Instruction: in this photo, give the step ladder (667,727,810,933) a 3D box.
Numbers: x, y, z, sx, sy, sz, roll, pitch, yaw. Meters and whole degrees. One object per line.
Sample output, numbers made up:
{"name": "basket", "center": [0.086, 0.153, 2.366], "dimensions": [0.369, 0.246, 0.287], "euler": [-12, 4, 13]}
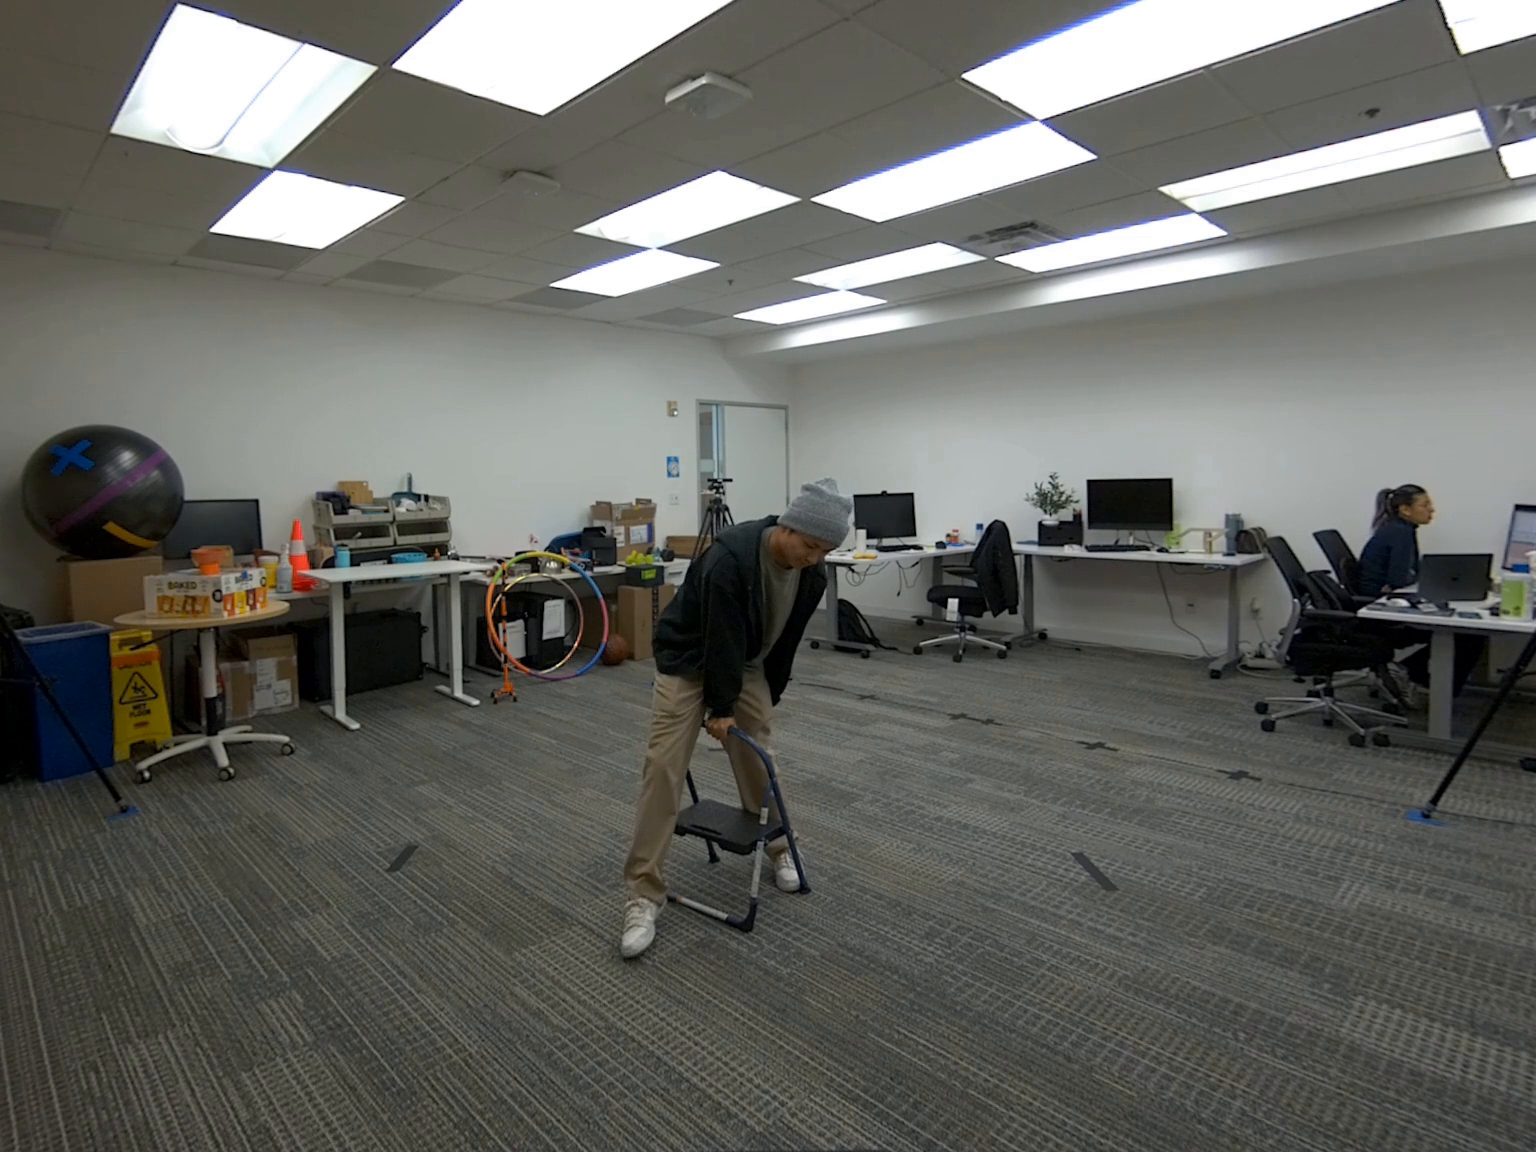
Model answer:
{"name": "step ladder", "center": [-0.131, 0.774, 2.868], "dimensions": [0.443, 0.604, 0.341], "euler": [2, 5, 36]}
